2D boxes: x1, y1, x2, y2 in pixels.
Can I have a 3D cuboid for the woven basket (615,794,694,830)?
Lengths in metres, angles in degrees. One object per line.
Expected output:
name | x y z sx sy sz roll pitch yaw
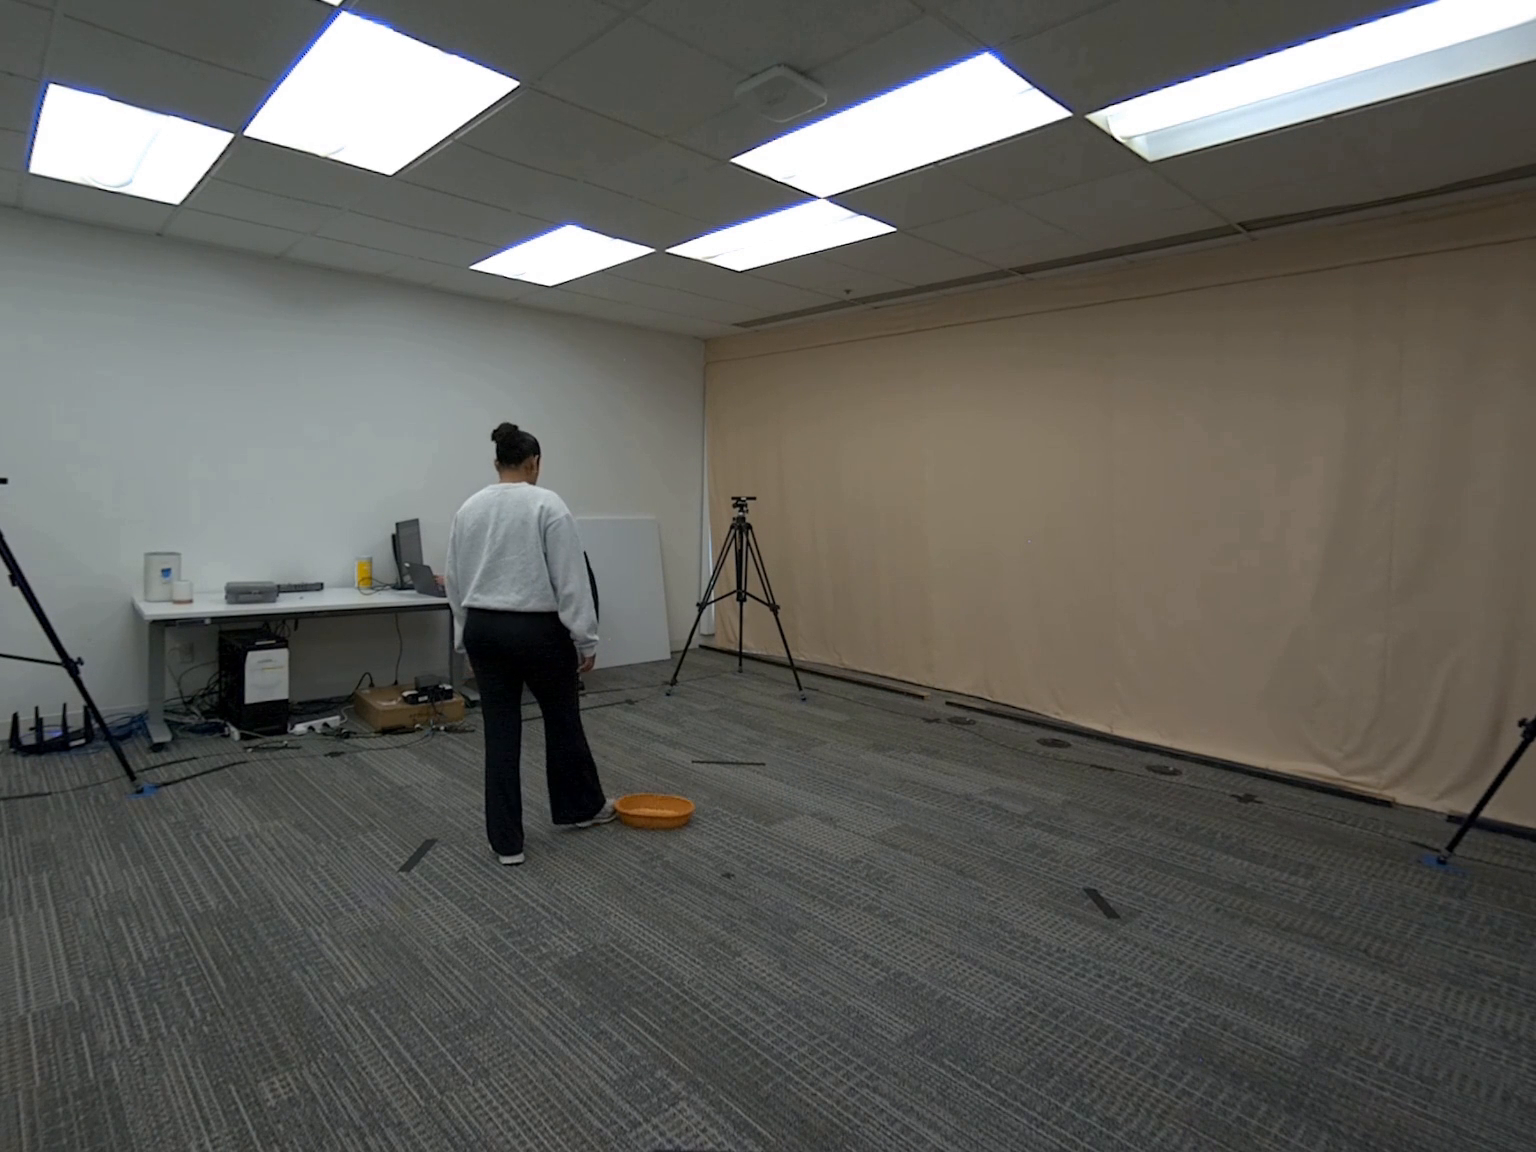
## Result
woven basket | -0.494 1.010 3.612 0.352 0.073 0.252 4 5 6
